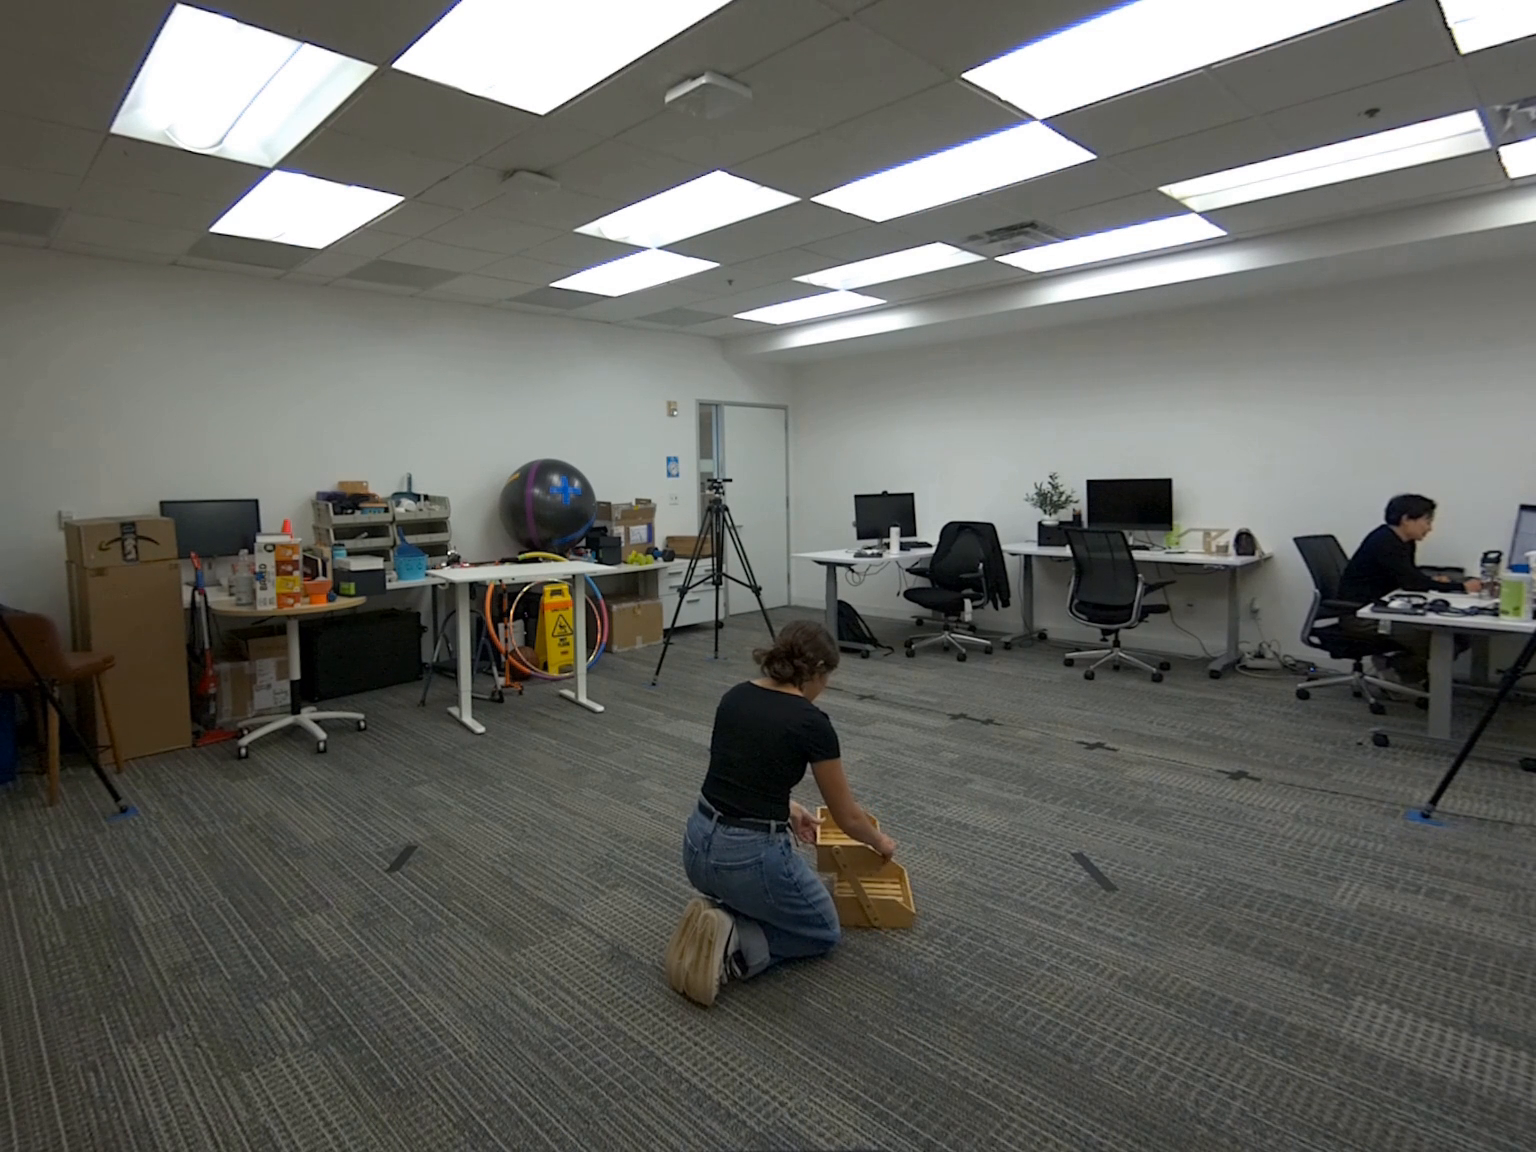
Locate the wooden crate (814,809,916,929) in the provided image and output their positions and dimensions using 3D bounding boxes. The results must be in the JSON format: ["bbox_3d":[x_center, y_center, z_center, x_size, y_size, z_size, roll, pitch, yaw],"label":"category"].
[{"bbox_3d":[0.325,0.941,2.795,0.303,0.272,0.324,-2,5,4],"label":"wooden crate"}]
